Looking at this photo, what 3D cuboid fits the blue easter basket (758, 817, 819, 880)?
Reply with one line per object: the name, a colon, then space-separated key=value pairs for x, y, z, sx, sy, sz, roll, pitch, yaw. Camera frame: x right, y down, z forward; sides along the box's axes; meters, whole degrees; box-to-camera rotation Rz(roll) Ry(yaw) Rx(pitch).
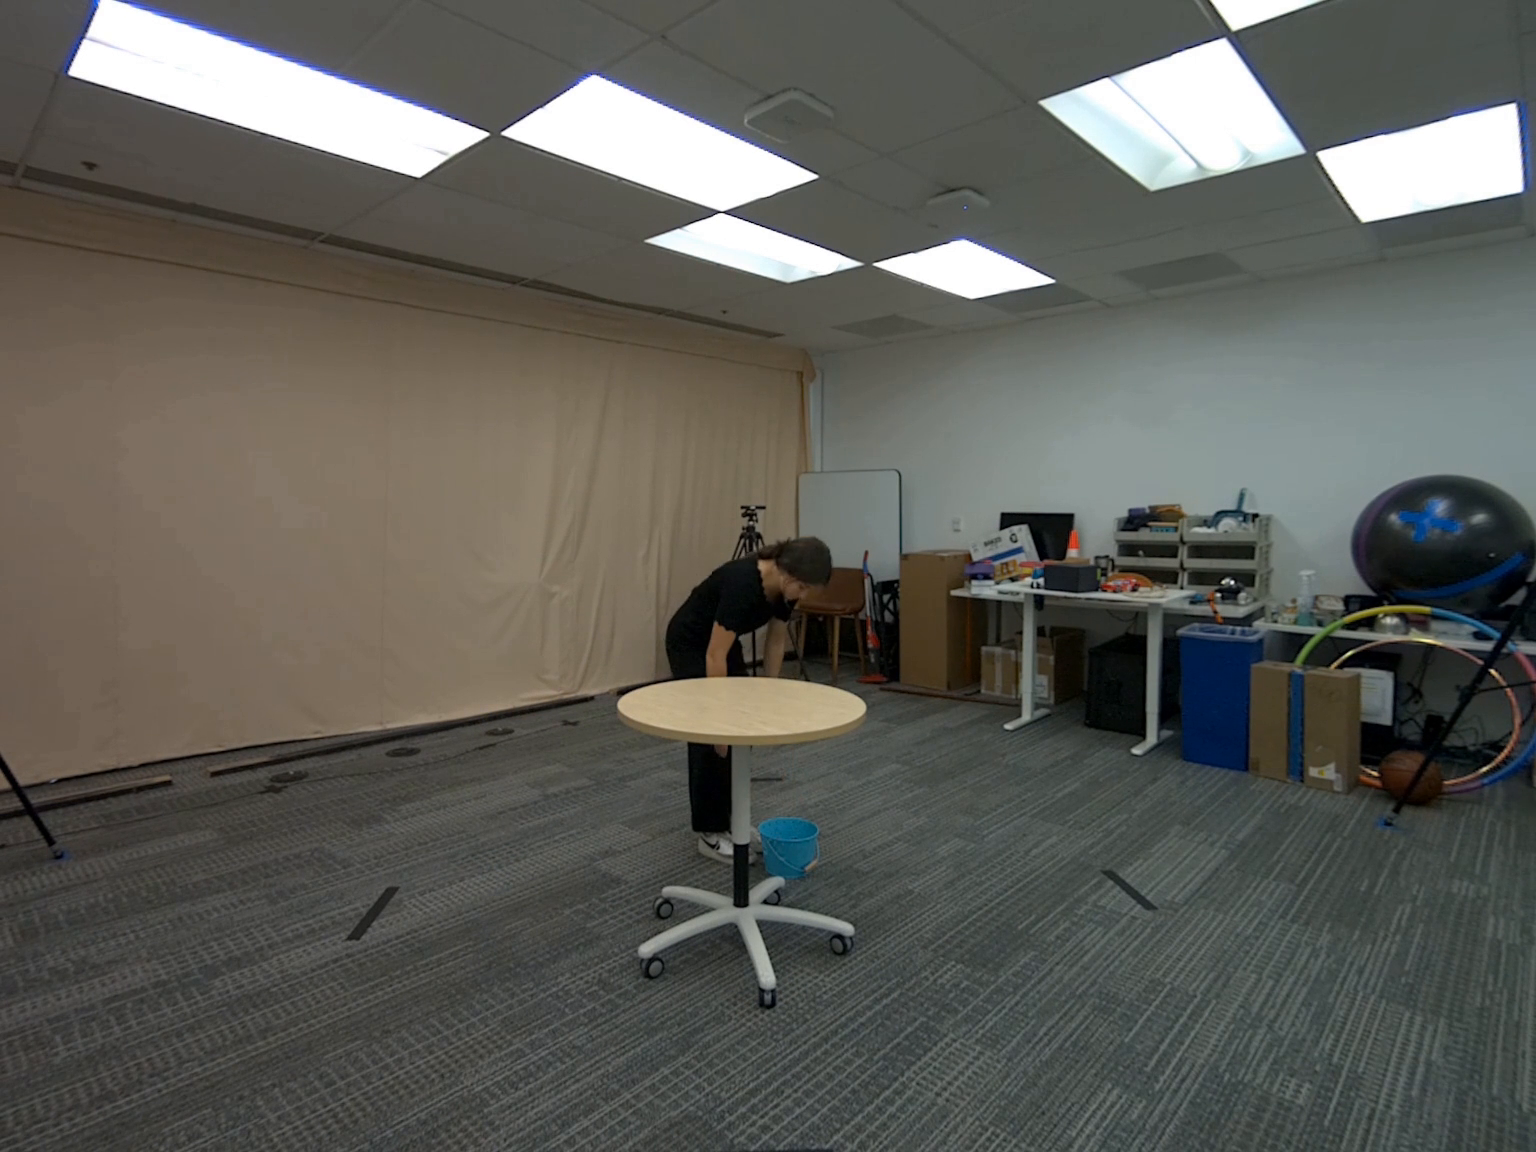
blue easter basket: x=0.083 y=1.042 z=3.227 sx=0.243 sy=0.155 sz=0.244 roll=0 pitch=4 yaw=-2
